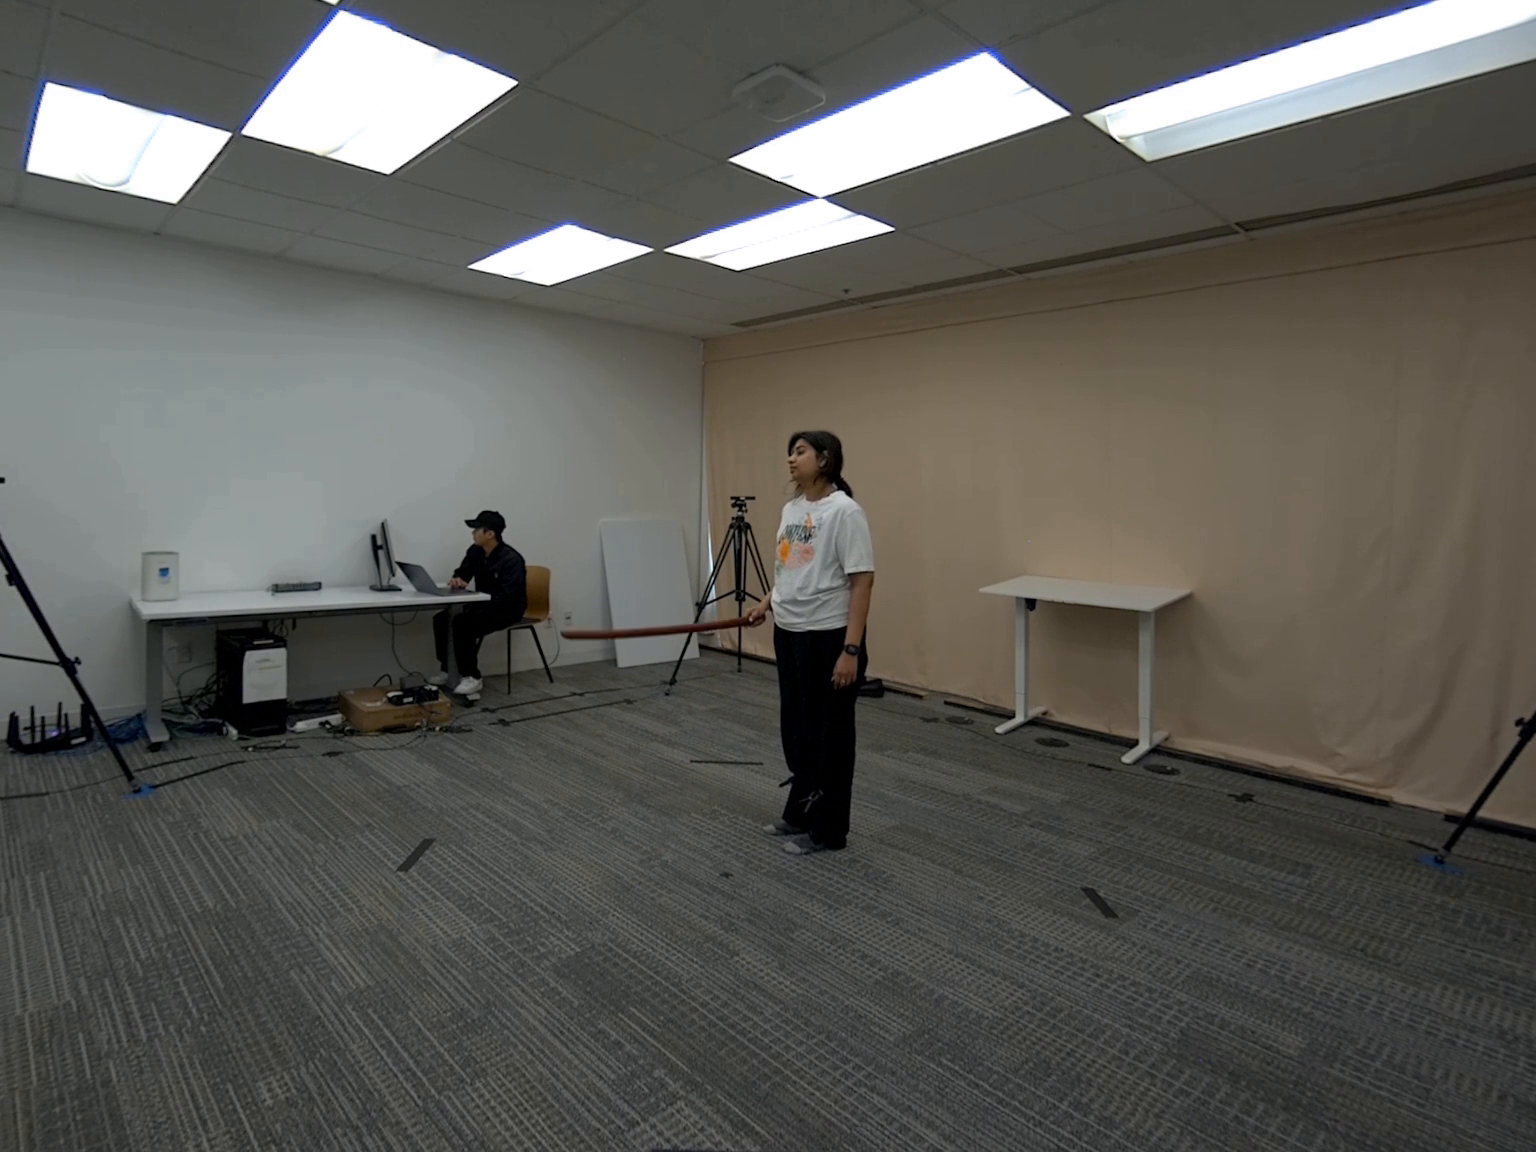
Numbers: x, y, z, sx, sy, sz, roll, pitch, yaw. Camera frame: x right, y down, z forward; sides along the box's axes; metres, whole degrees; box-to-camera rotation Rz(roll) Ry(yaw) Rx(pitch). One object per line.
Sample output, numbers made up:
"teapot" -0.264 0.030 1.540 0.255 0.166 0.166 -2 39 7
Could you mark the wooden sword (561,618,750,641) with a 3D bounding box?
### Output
"wooden sword" -0.355 0.200 3.092 1.001 0.024 0.051 -2 -30 -45
